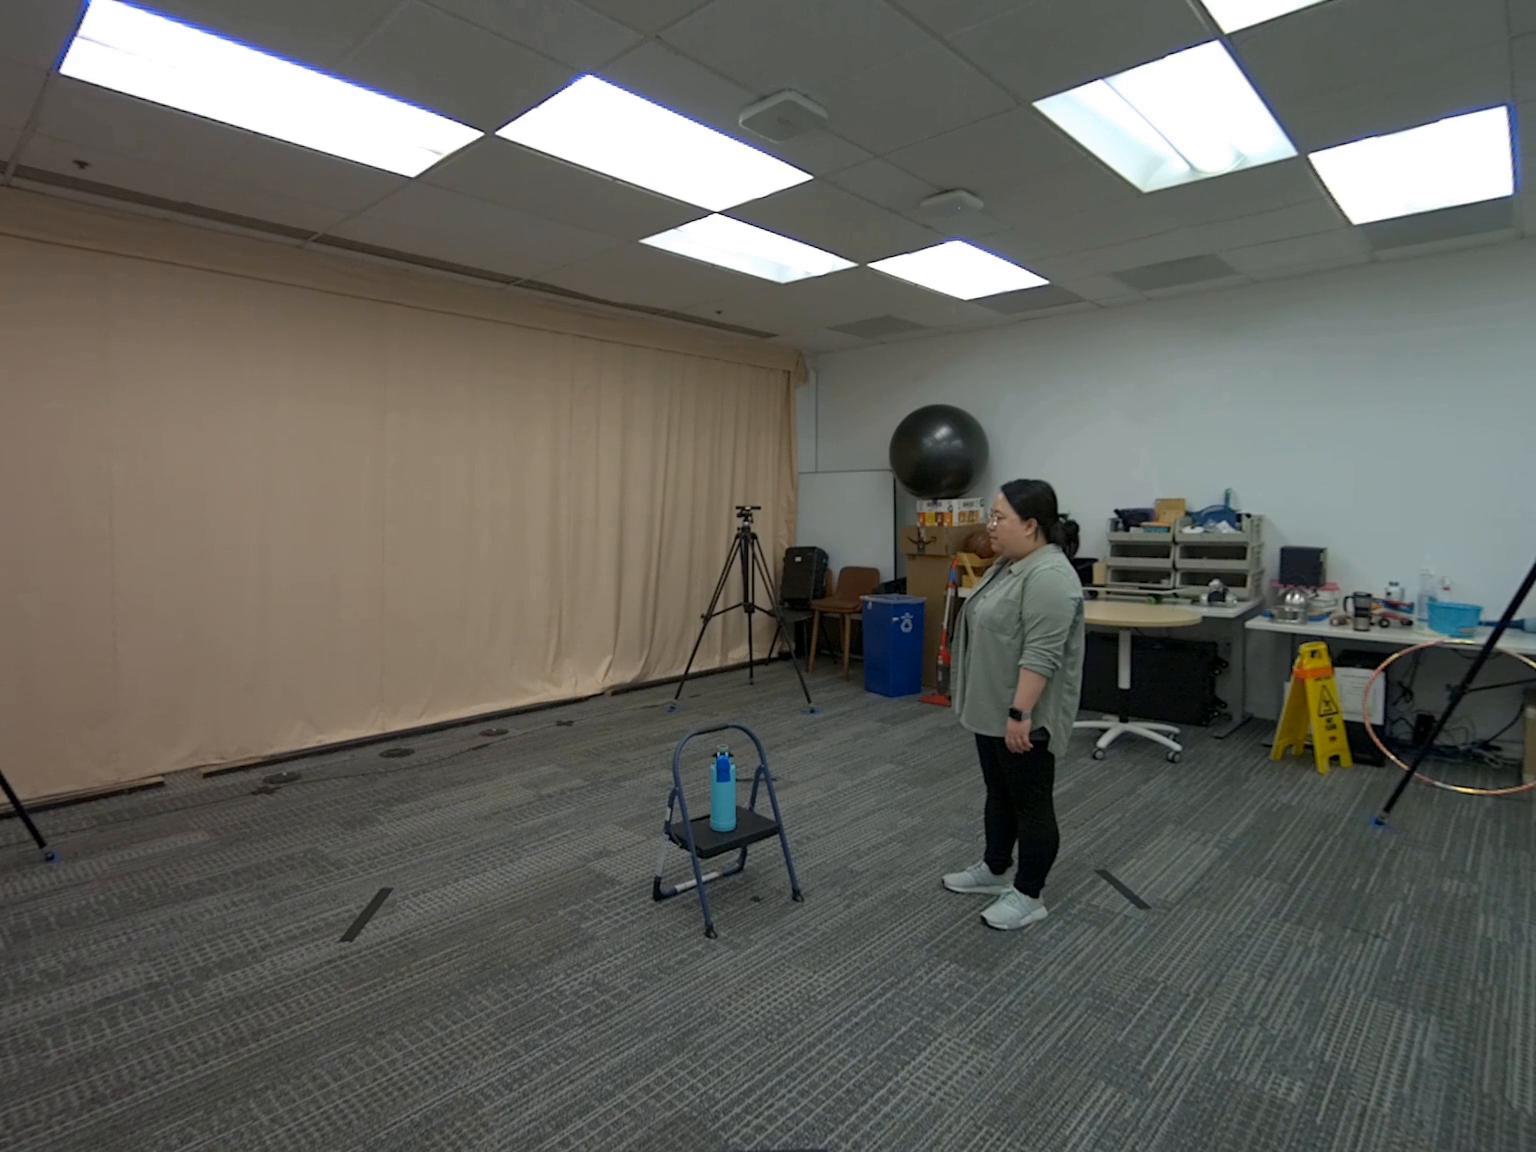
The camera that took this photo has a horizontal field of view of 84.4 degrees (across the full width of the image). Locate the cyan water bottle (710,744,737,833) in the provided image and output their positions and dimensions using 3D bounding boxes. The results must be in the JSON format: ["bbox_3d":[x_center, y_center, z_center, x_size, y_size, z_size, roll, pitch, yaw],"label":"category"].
[{"bbox_3d":[-0.153,0.749,2.958,0.092,0.282,0.093,1,6,-2],"label":"cyan water bottle"}]
